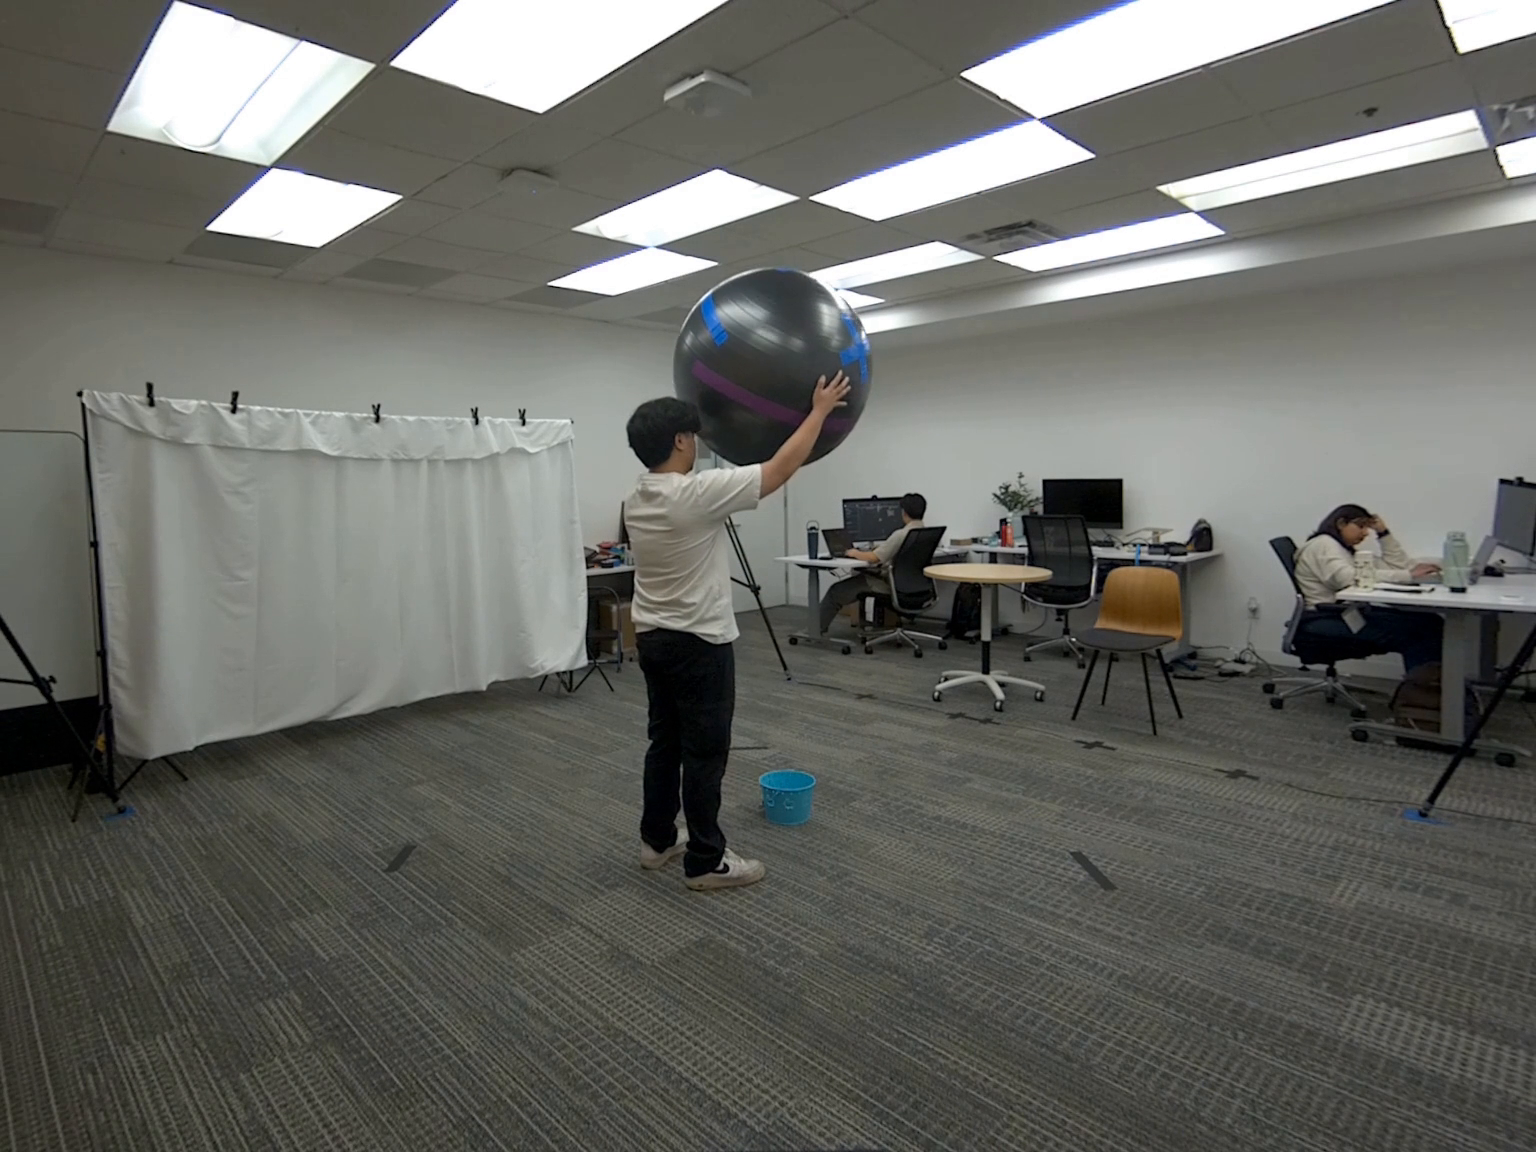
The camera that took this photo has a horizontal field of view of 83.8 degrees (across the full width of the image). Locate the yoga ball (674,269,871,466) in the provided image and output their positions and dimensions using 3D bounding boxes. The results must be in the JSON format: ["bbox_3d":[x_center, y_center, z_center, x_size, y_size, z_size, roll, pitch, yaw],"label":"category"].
[{"bbox_3d":[0.014,-0.772,3.269,0.757,0.755,0.762,-1,5,-2],"label":"yoga ball"}]
